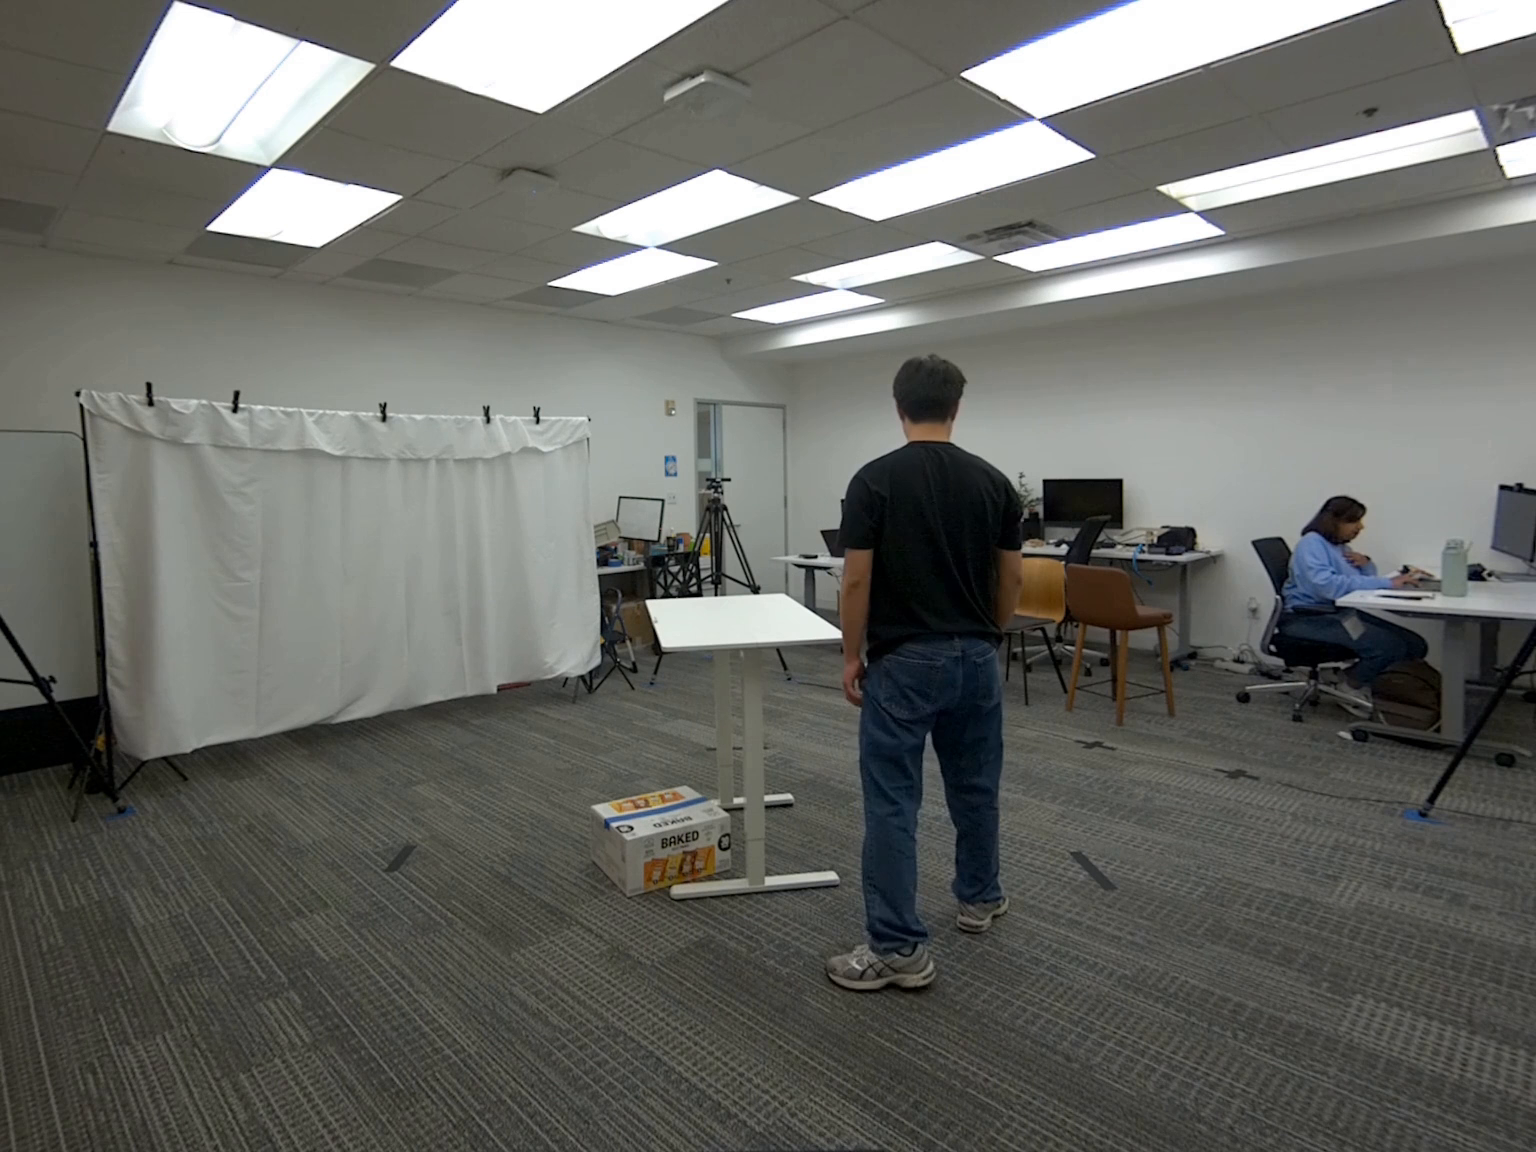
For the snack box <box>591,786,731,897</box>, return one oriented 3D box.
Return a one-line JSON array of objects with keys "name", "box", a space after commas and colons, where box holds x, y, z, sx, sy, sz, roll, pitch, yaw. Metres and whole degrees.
[{"name": "snack box", "box": [-0.391, 0.948, 3.091, 0.395, 0.205, 0.350, -4, 7, -31]}]
